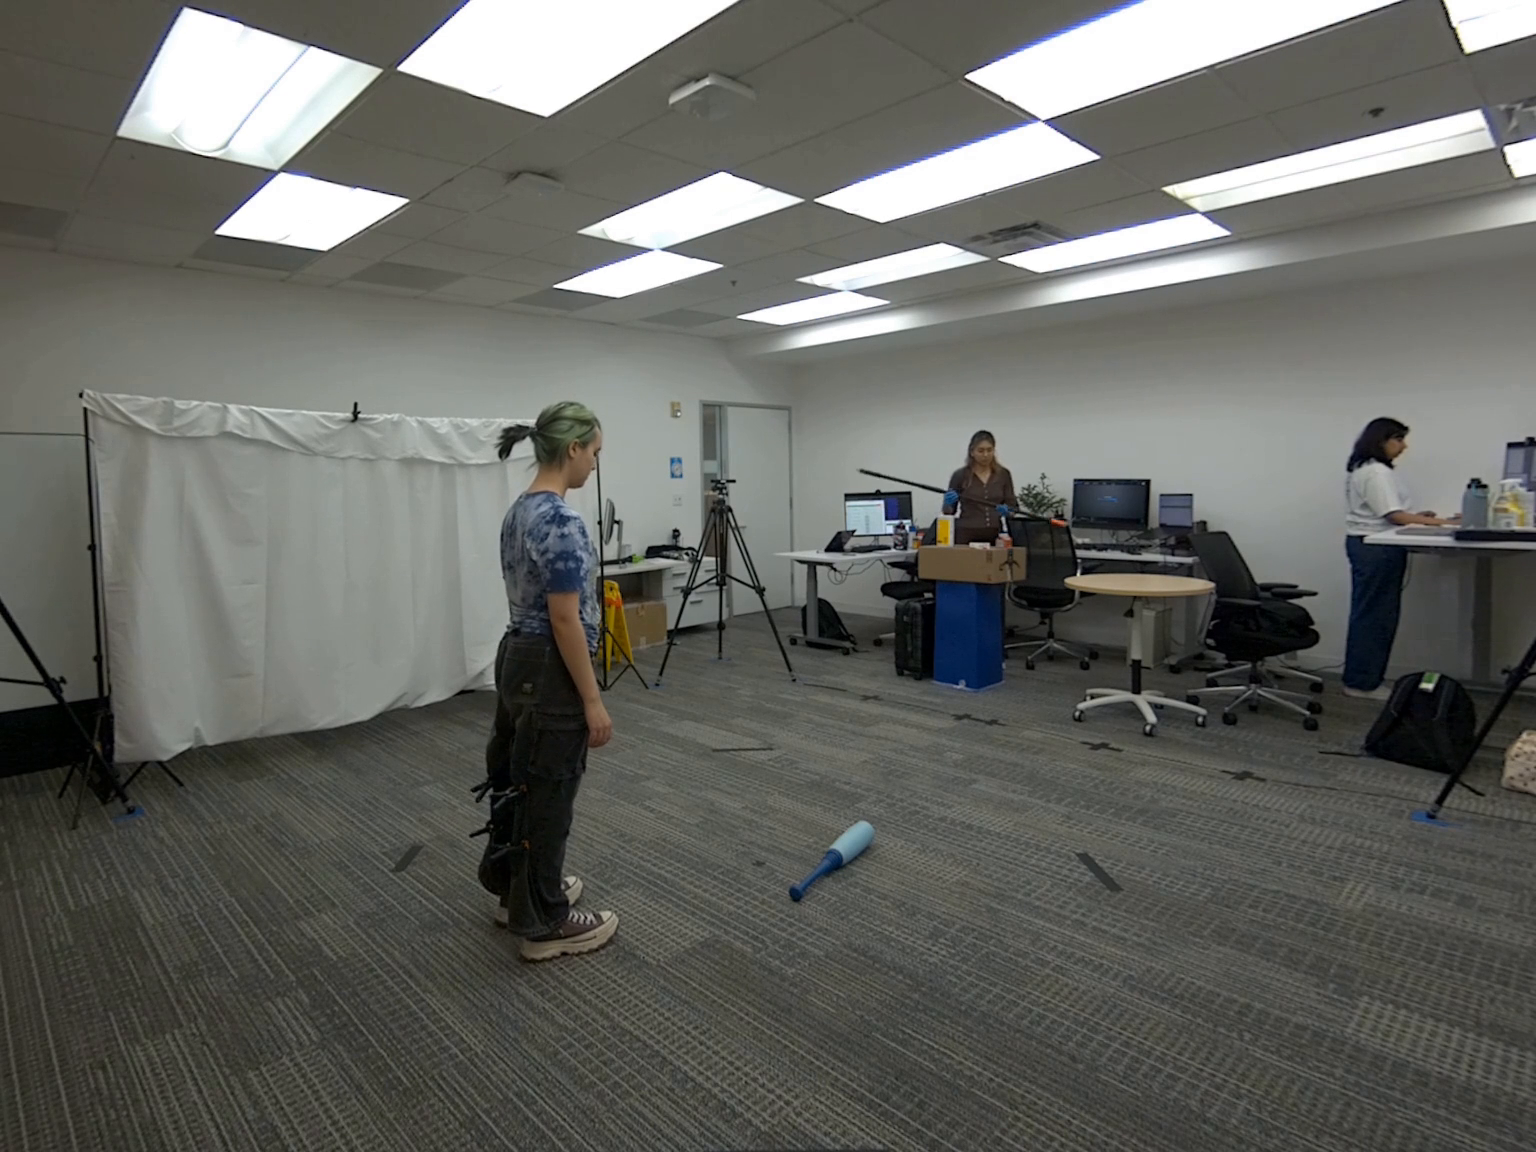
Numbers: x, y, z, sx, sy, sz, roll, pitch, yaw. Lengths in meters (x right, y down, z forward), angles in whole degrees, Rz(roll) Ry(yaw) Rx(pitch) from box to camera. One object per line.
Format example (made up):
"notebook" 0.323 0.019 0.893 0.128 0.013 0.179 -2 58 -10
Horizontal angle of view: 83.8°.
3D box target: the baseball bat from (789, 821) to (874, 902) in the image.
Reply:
"baseball bat" 0.233 1.015 3.037 0.091 0.088 0.532 2 10 32
